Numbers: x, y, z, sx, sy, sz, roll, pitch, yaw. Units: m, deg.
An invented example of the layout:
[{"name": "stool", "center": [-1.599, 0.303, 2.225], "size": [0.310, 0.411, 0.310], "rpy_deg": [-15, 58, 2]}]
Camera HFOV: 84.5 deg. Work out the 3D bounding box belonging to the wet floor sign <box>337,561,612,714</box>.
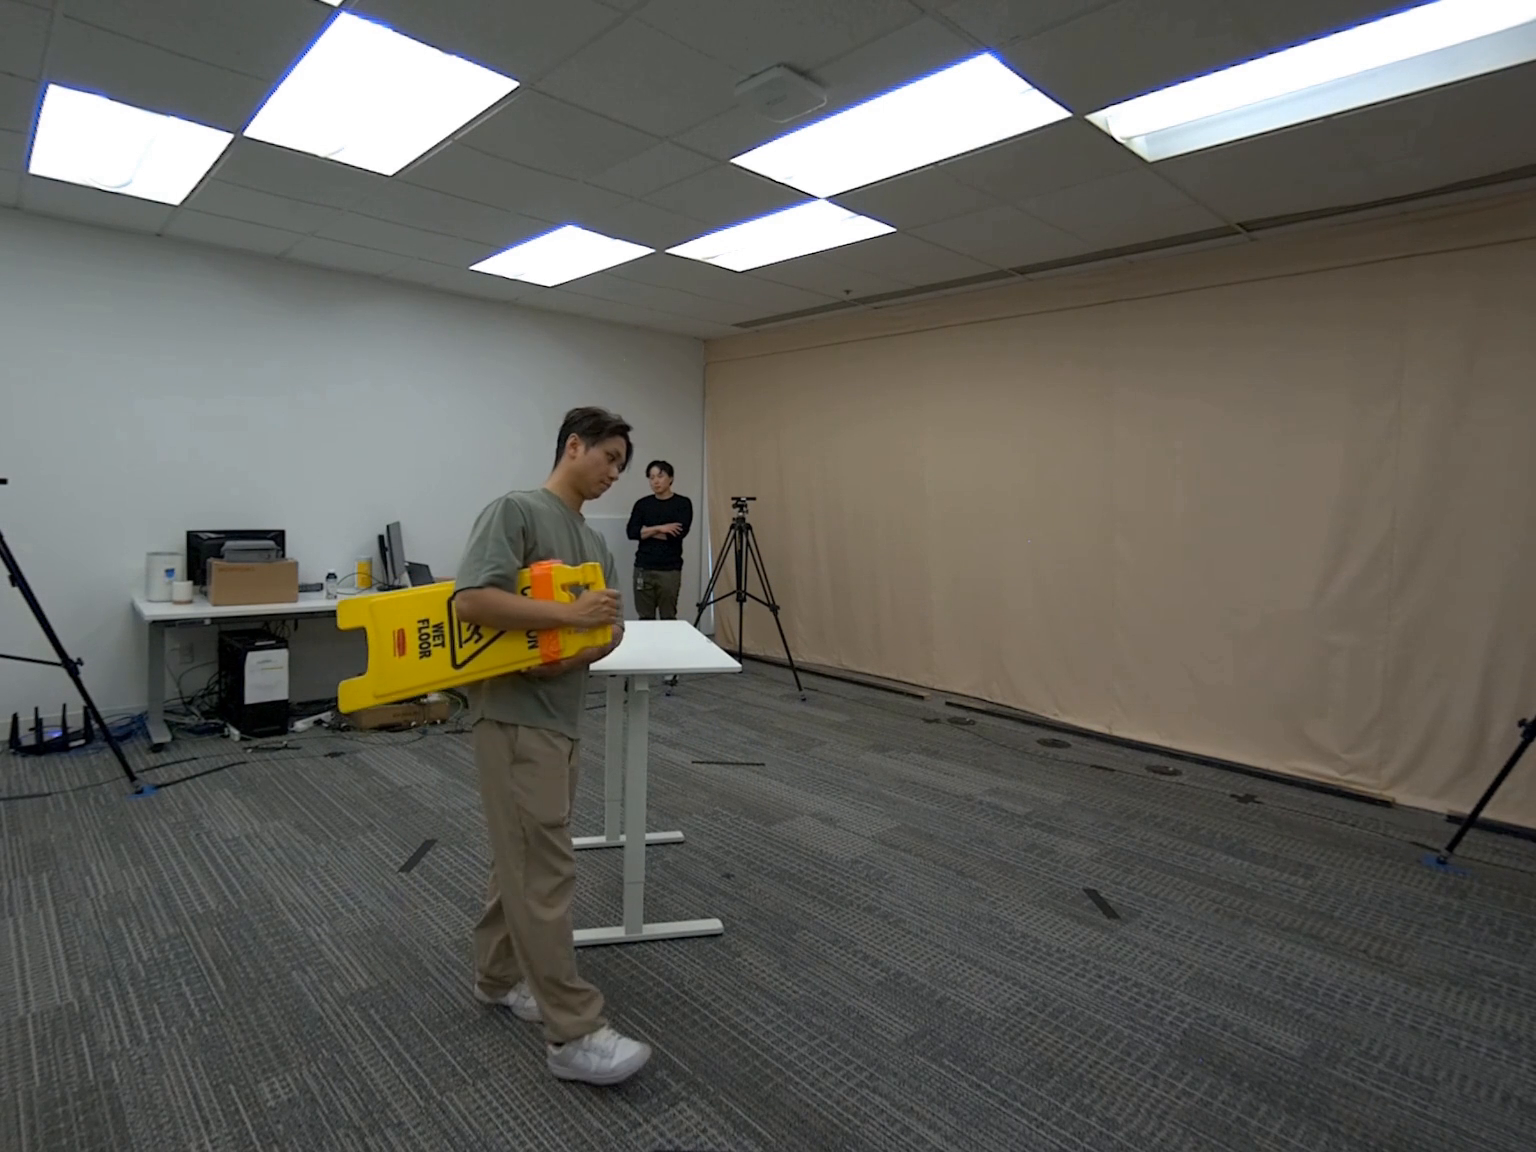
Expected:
[{"name": "wet floor sign", "center": [-0.700, 0.141, 2.035], "size": [0.649, 0.284, 0.286], "rpy_deg": [-13, -8, 9]}]
